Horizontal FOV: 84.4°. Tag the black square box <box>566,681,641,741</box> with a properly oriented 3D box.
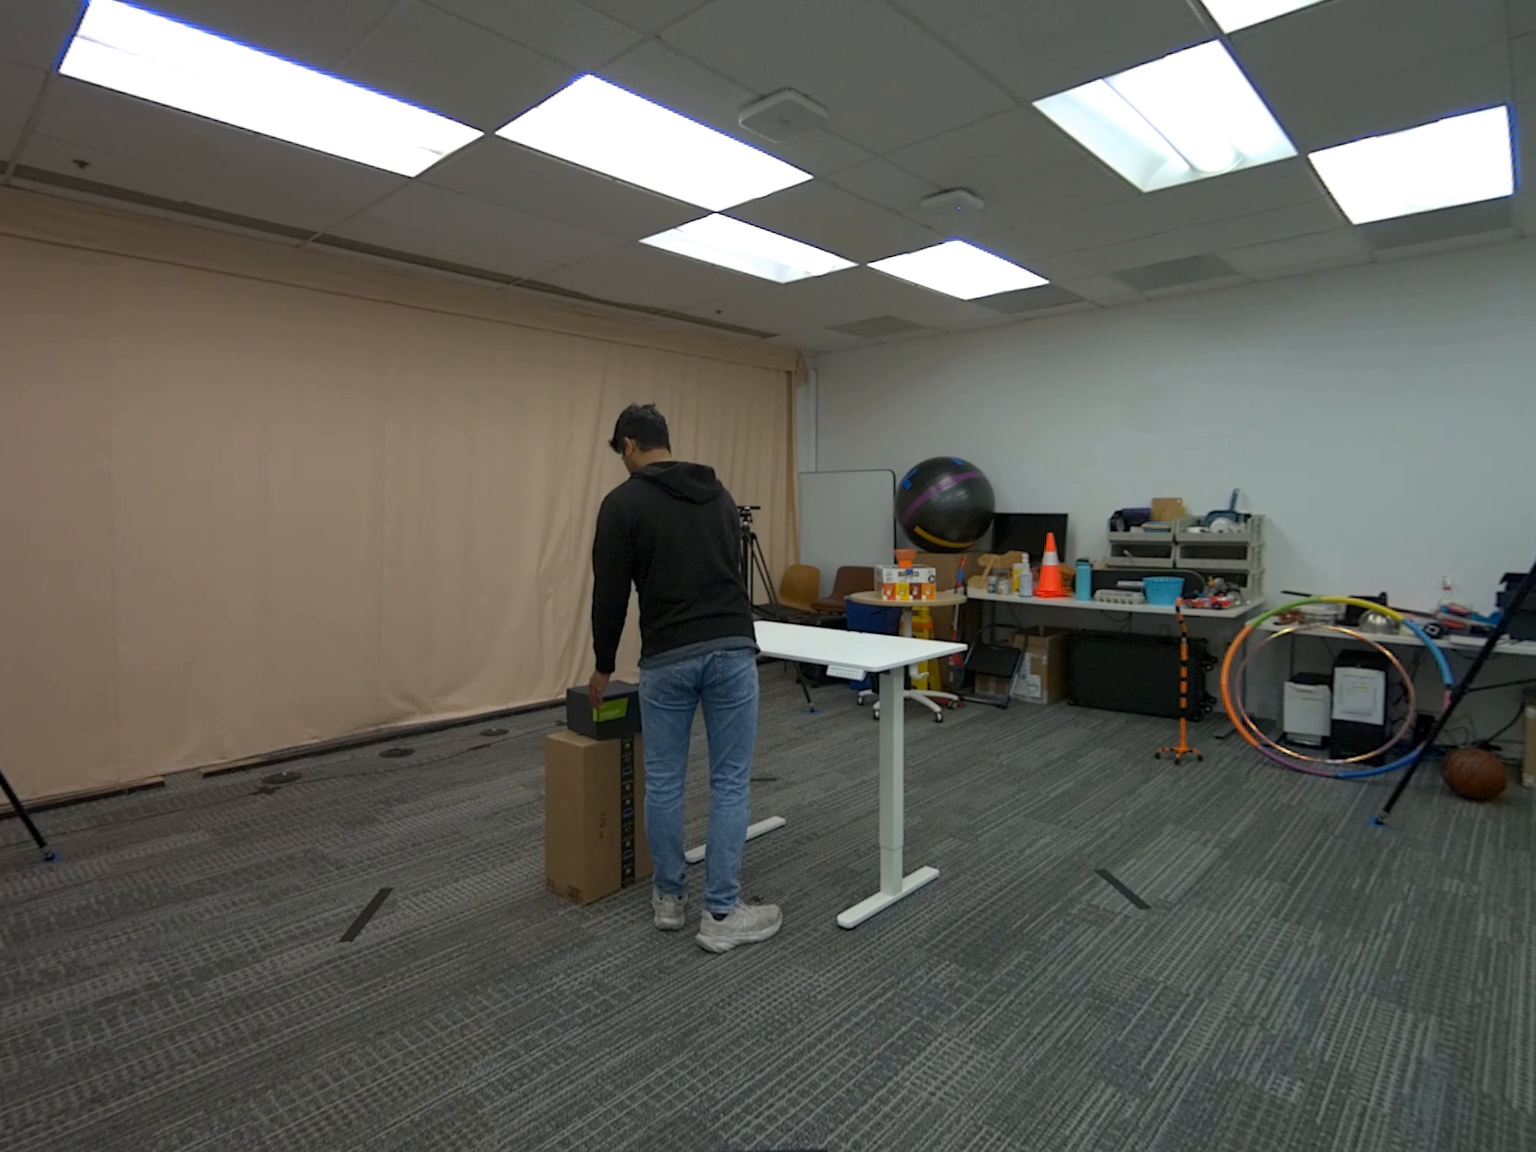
[{"bbox_3d":[-0.591,0.493,3.123,0.221,0.155,0.224,-4,5,-43],"label":"black square box"}]
